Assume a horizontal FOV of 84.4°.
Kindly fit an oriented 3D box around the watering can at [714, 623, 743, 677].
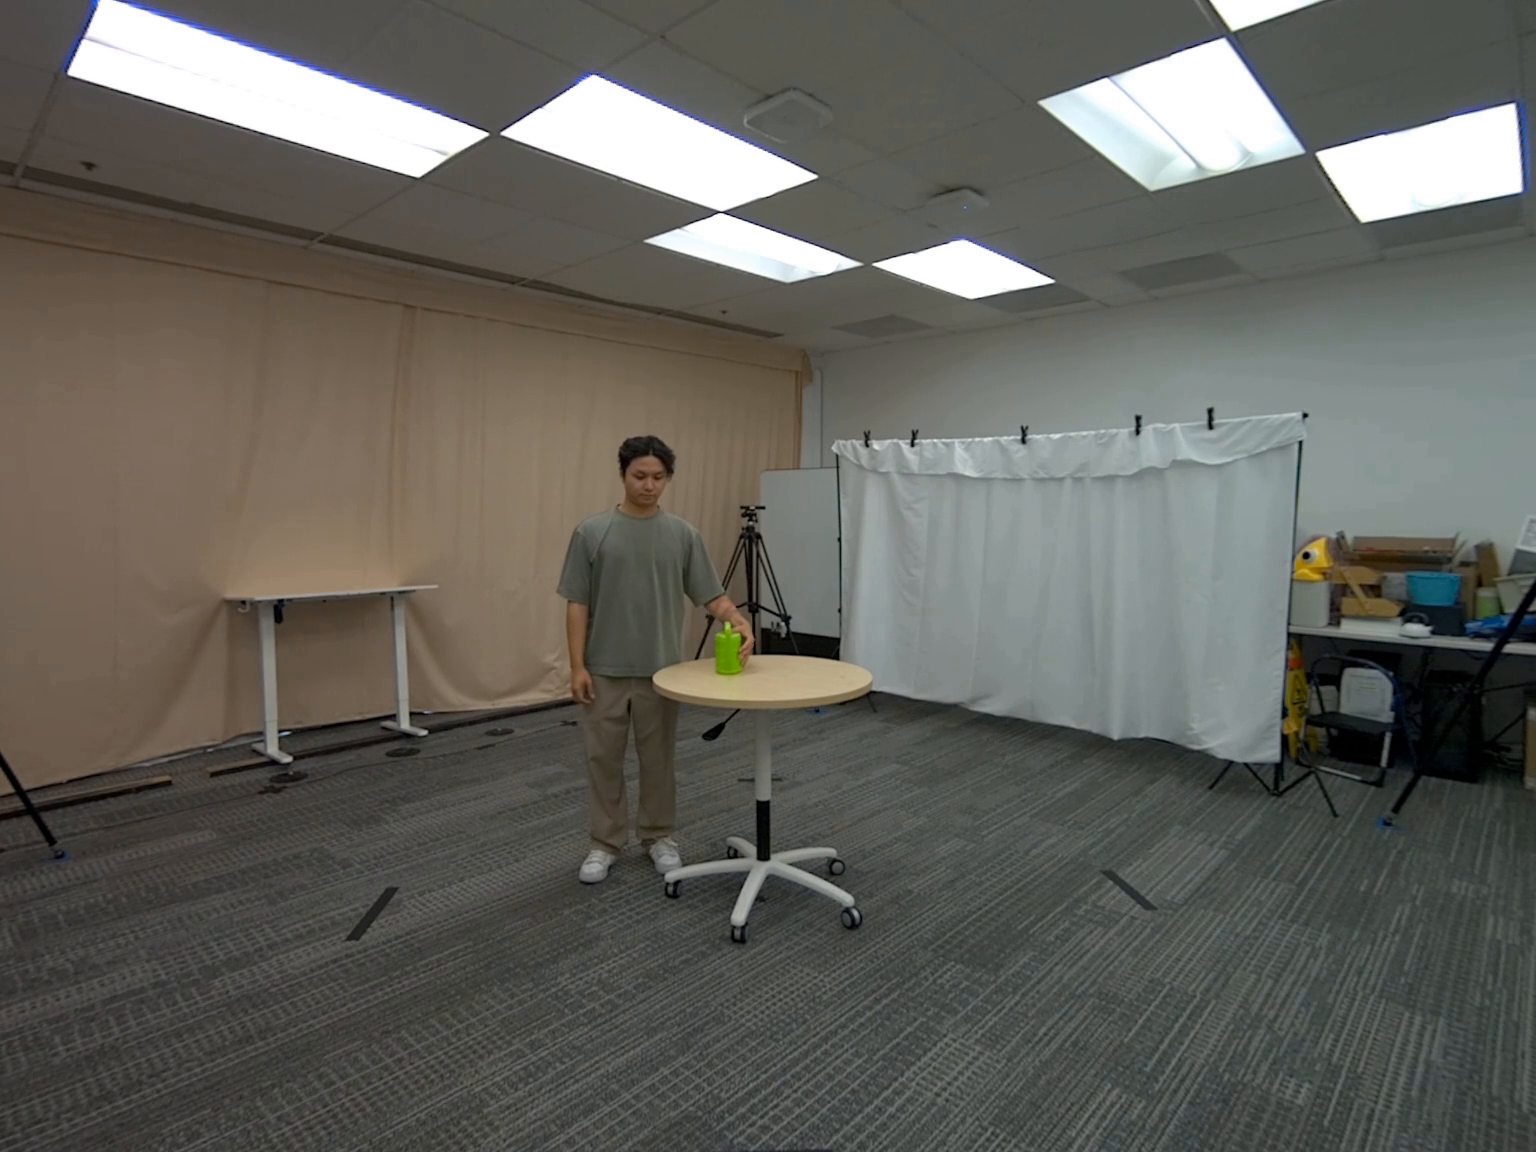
[{"bbox_3d":[-0.159,0.263,2.985,0.100,0.177,0.271,-2,2,26],"label":"watering can"}]
